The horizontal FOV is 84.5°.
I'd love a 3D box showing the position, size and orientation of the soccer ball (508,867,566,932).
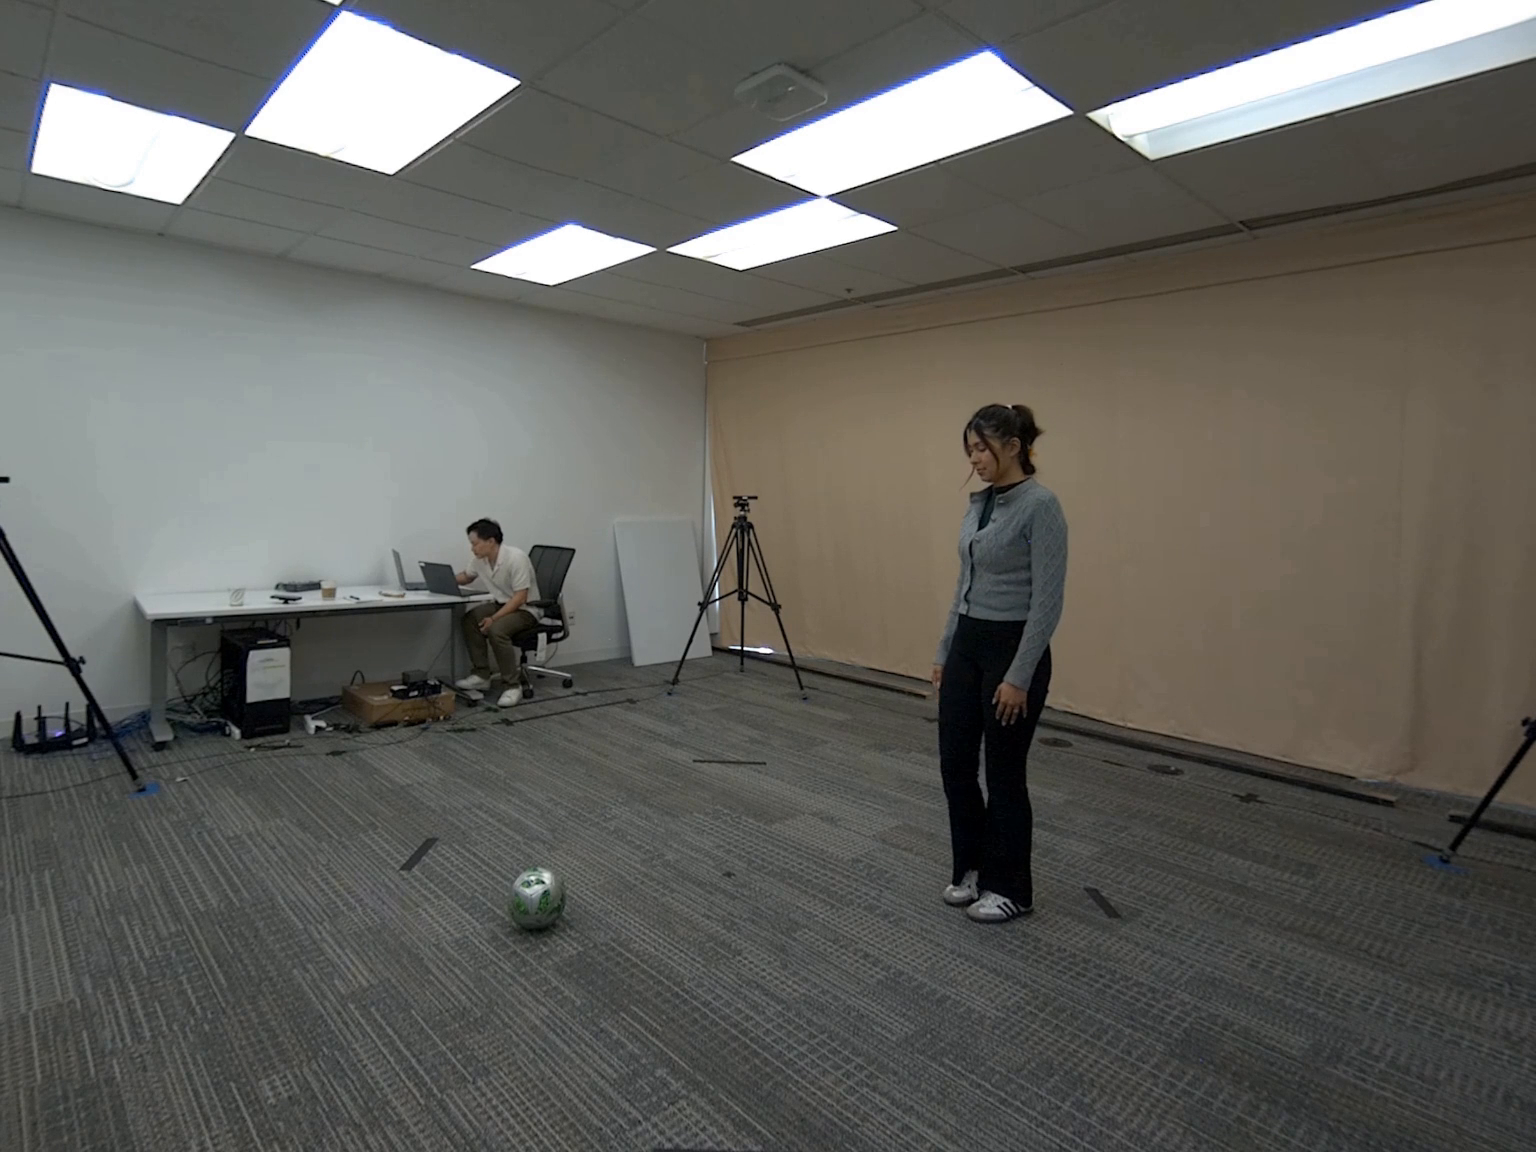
[{"bbox_3d":[-0.749,1.034,2.694,0.187,0.187,0.188,1,4,-1],"label":"soccer ball"}]
